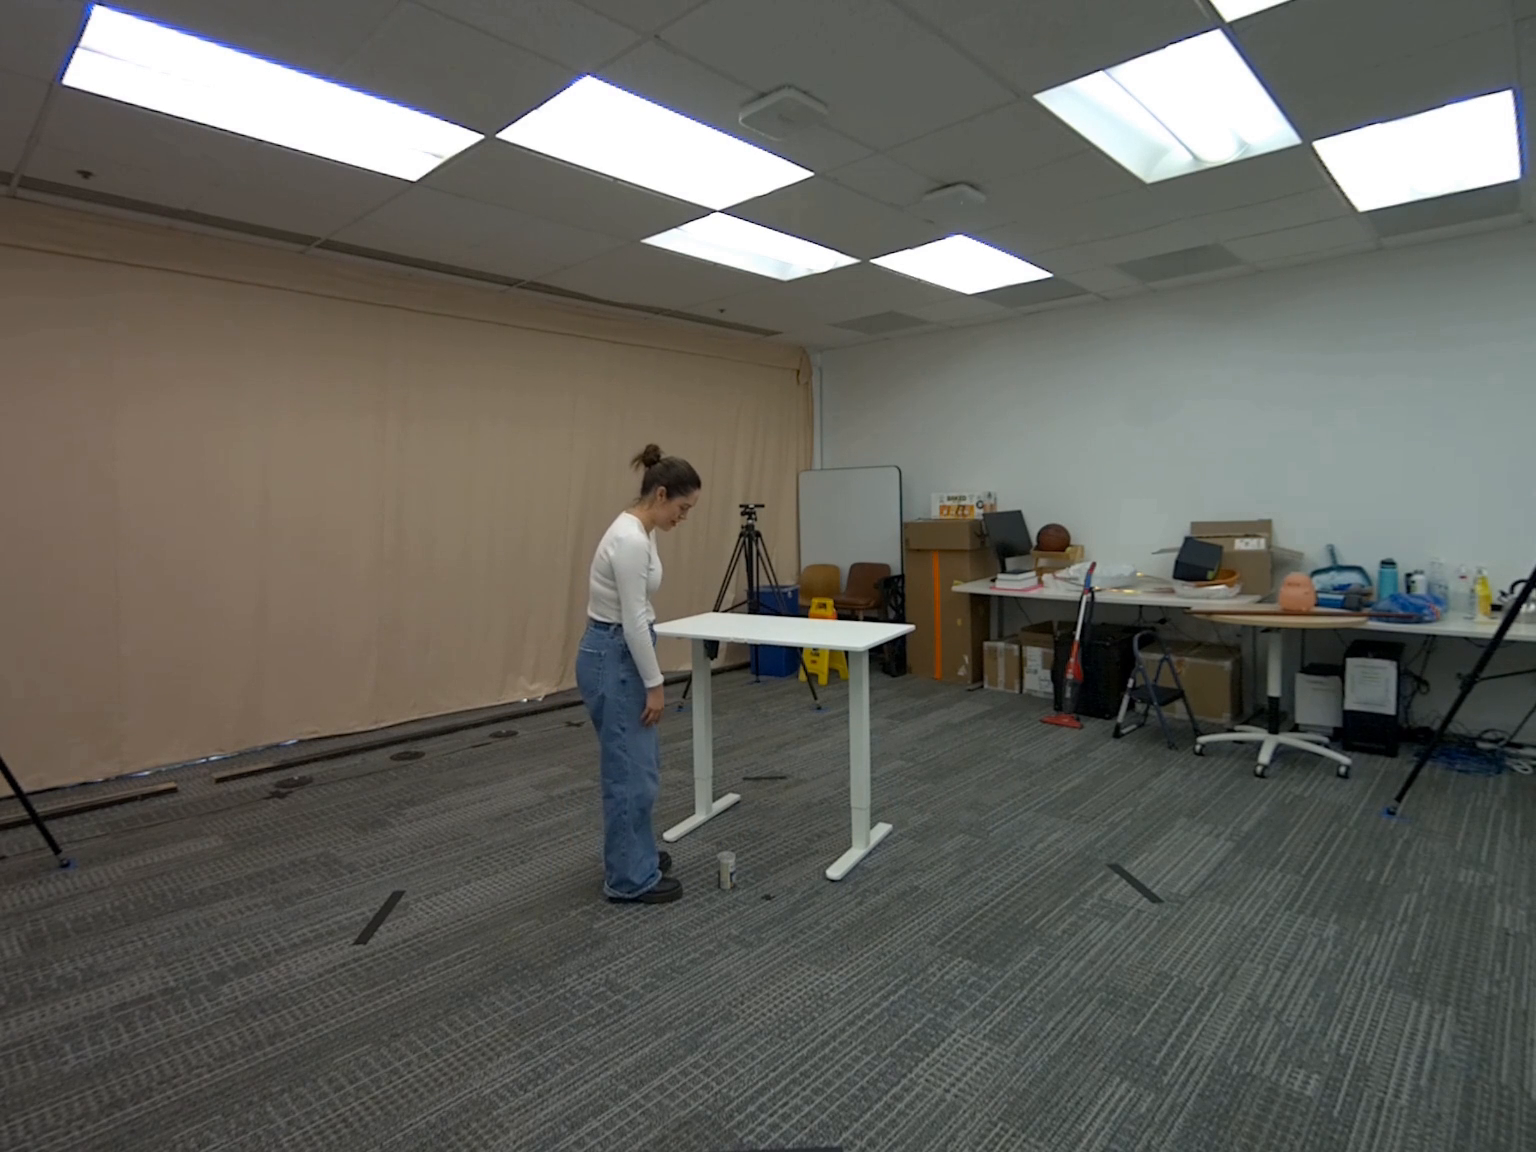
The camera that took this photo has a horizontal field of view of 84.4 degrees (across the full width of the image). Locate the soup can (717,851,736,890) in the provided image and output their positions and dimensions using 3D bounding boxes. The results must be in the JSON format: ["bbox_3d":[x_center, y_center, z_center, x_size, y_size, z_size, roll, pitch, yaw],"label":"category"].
[{"bbox_3d":[-0.145,1.086,3.068,0.067,0.121,0.067,0,4,-2],"label":"soup can"}]
